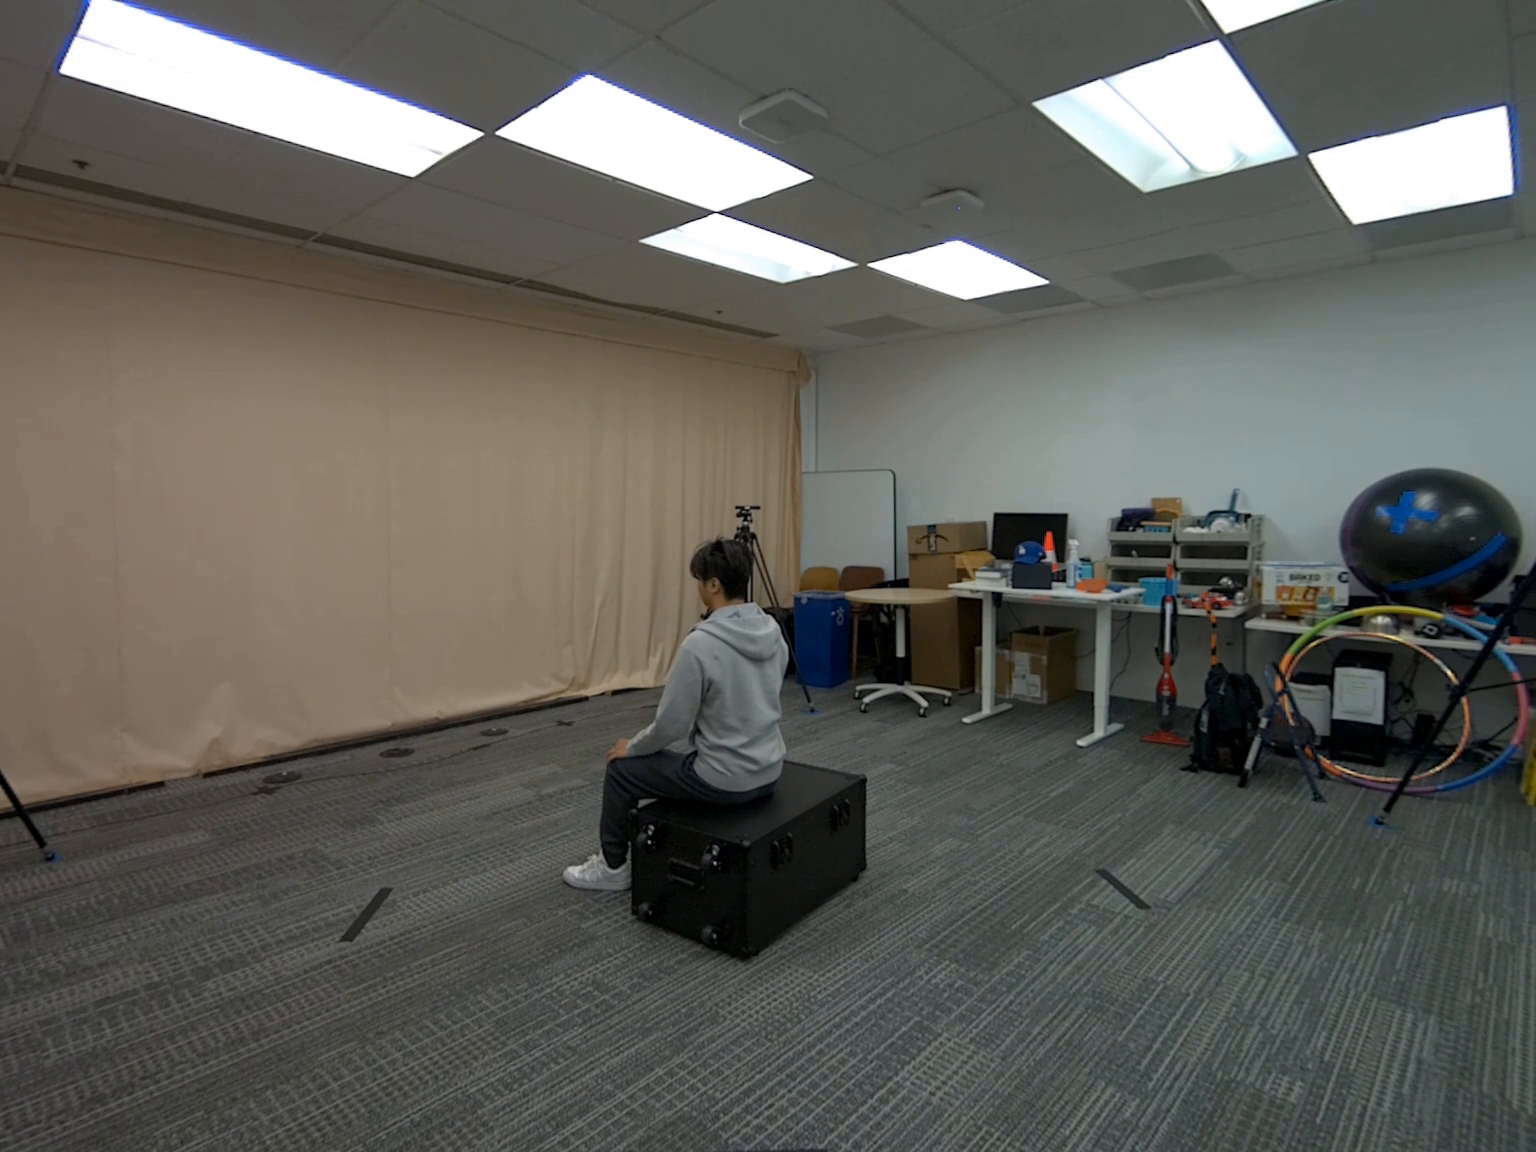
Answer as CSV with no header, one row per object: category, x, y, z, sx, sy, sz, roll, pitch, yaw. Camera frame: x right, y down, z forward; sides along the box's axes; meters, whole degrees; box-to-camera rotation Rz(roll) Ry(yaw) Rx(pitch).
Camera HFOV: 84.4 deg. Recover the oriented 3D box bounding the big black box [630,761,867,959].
big black box,-0.020,0.958,3.011,0.538,0.395,0.836,3,6,36
